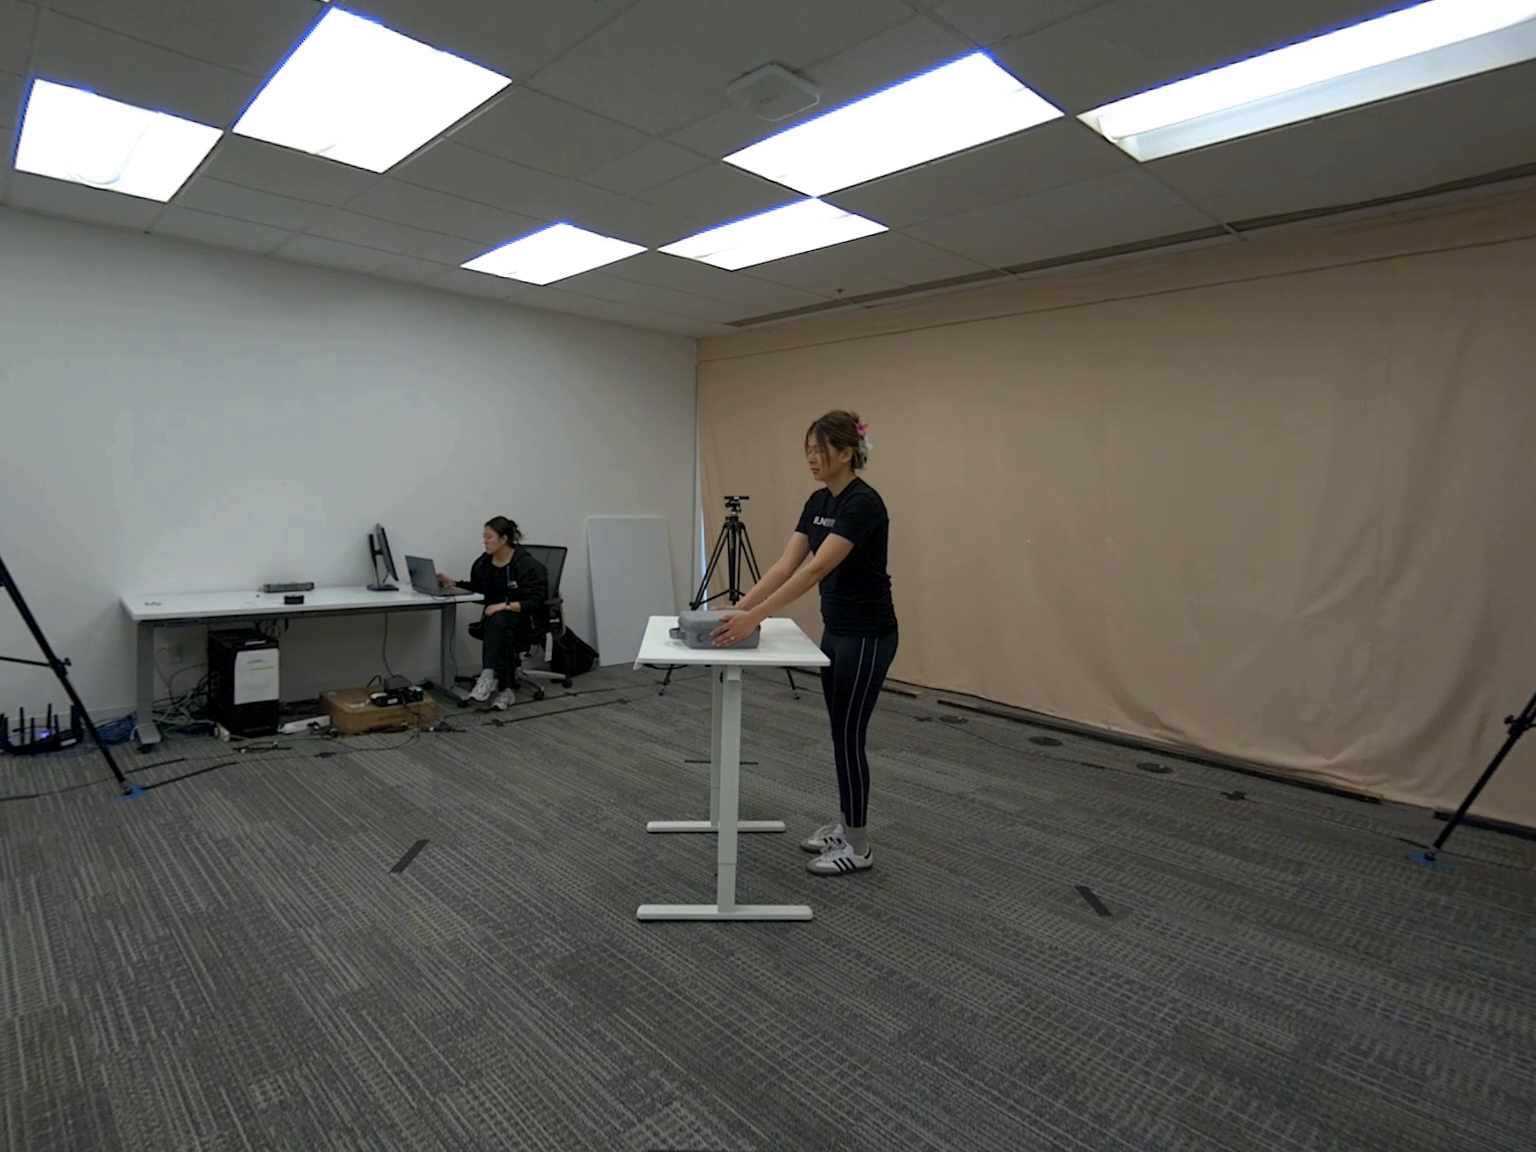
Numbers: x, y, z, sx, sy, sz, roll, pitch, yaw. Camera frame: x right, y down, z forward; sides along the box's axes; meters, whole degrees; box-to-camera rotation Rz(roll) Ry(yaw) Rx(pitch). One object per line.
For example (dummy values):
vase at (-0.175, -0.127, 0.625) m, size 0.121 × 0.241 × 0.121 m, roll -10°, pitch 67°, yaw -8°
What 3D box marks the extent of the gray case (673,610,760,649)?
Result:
gray case at (-0.184, 0.184, 2.920) m, size 0.258 × 0.104 × 0.260 m, roll -1°, pitch 6°, yaw -11°
